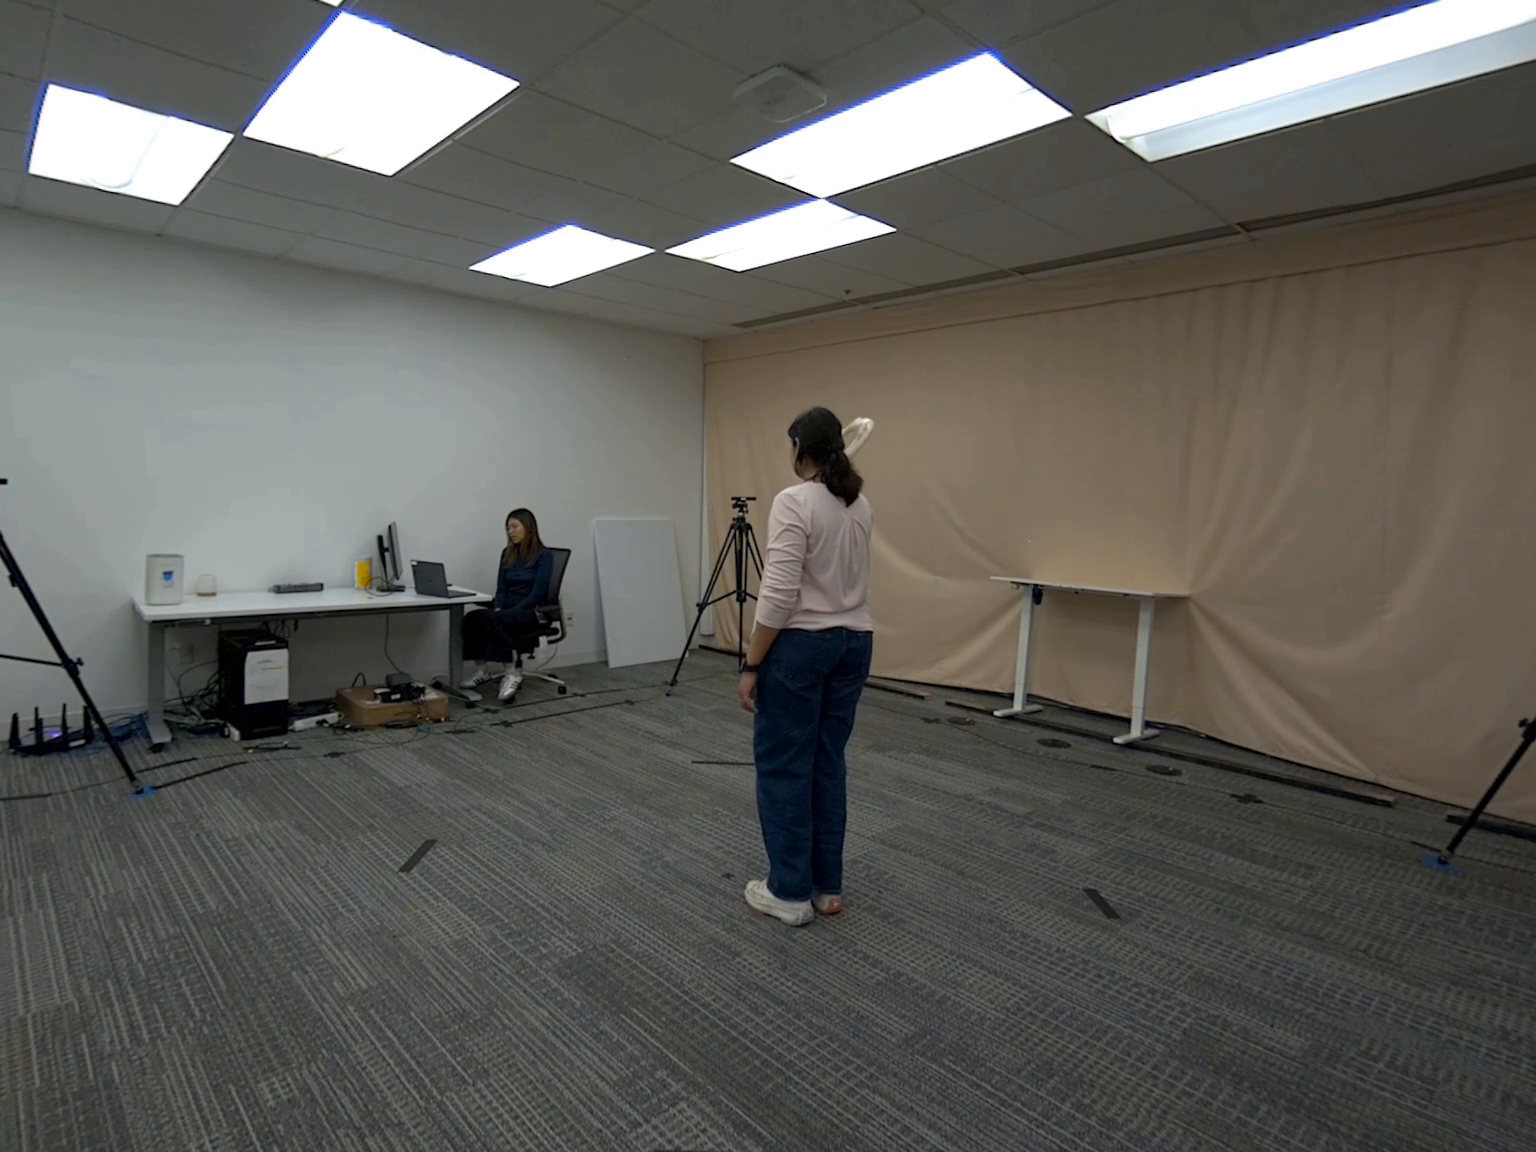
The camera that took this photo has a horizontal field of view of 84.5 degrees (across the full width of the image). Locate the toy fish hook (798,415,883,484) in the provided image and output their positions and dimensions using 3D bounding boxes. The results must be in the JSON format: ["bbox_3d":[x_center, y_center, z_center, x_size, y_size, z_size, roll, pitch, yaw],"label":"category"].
[{"bbox_3d":[0.242,-0.433,3.412,0.047,0.507,0.229,40,-9,-22],"label":"toy fish hook"}]
